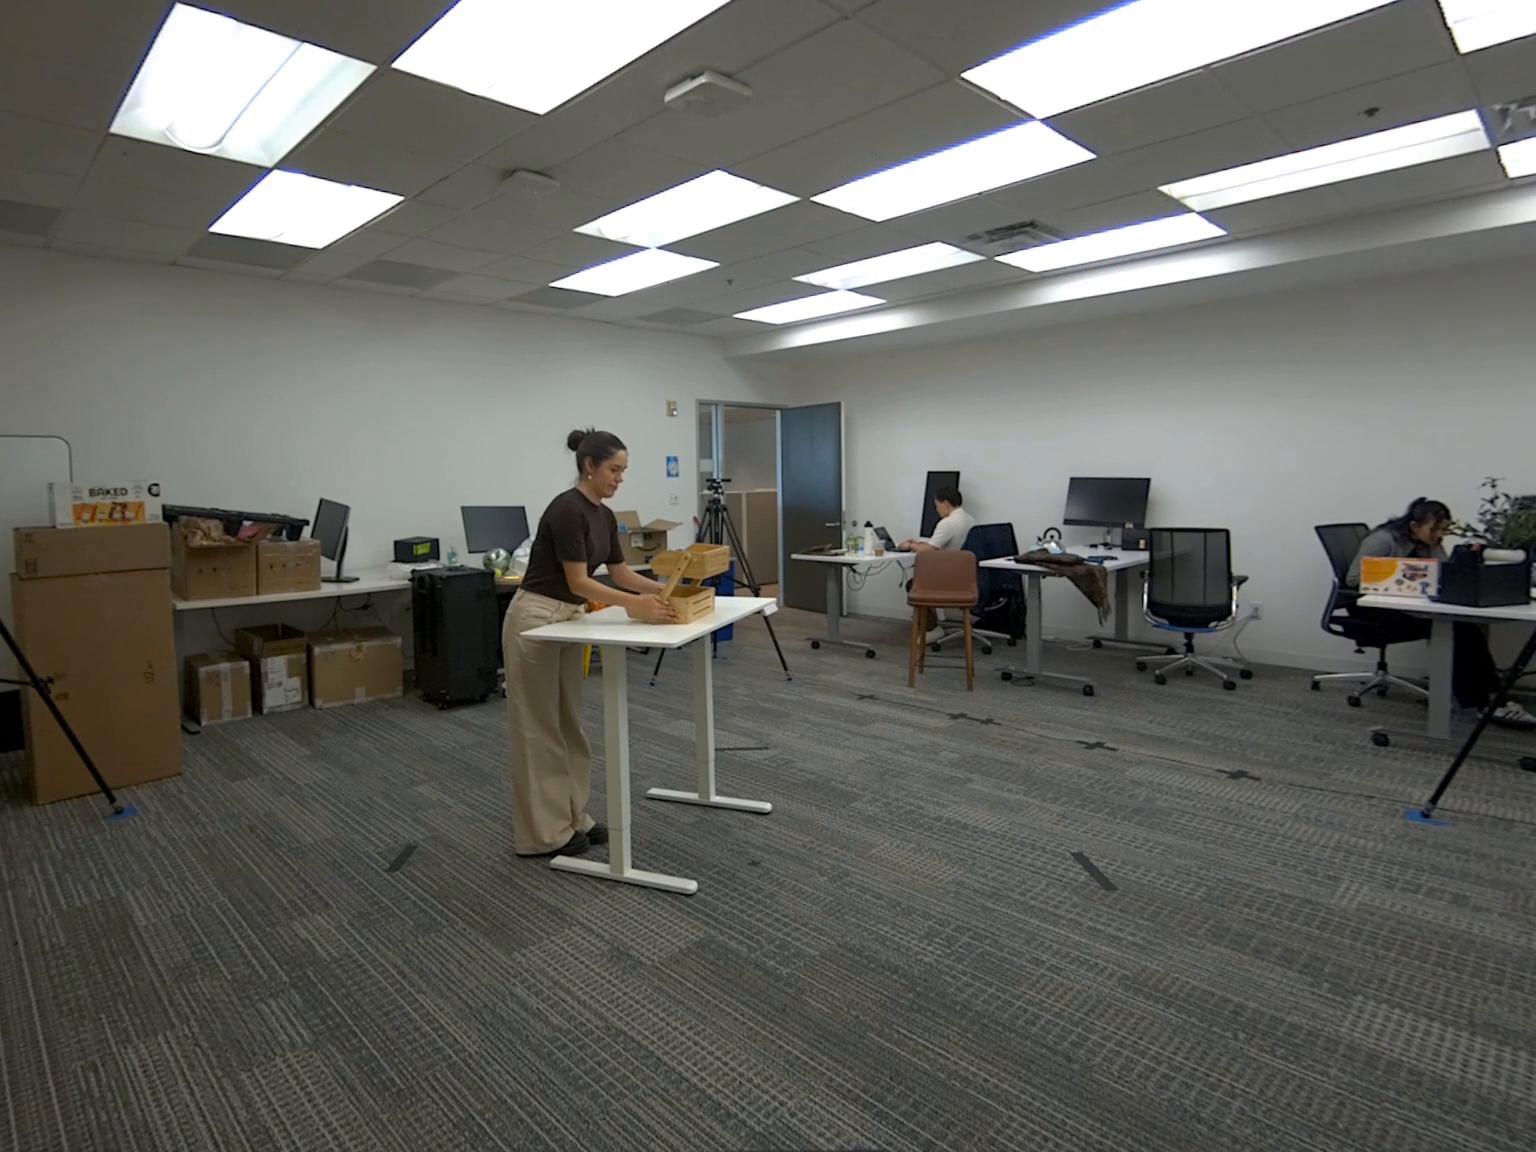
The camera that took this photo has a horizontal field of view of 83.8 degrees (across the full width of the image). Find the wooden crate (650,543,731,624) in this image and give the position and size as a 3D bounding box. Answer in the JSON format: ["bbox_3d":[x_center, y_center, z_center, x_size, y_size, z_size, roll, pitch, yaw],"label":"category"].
[{"bbox_3d":[-0.344,0.017,3.209,0.307,0.272,0.320,4,7,17],"label":"wooden crate"}]
